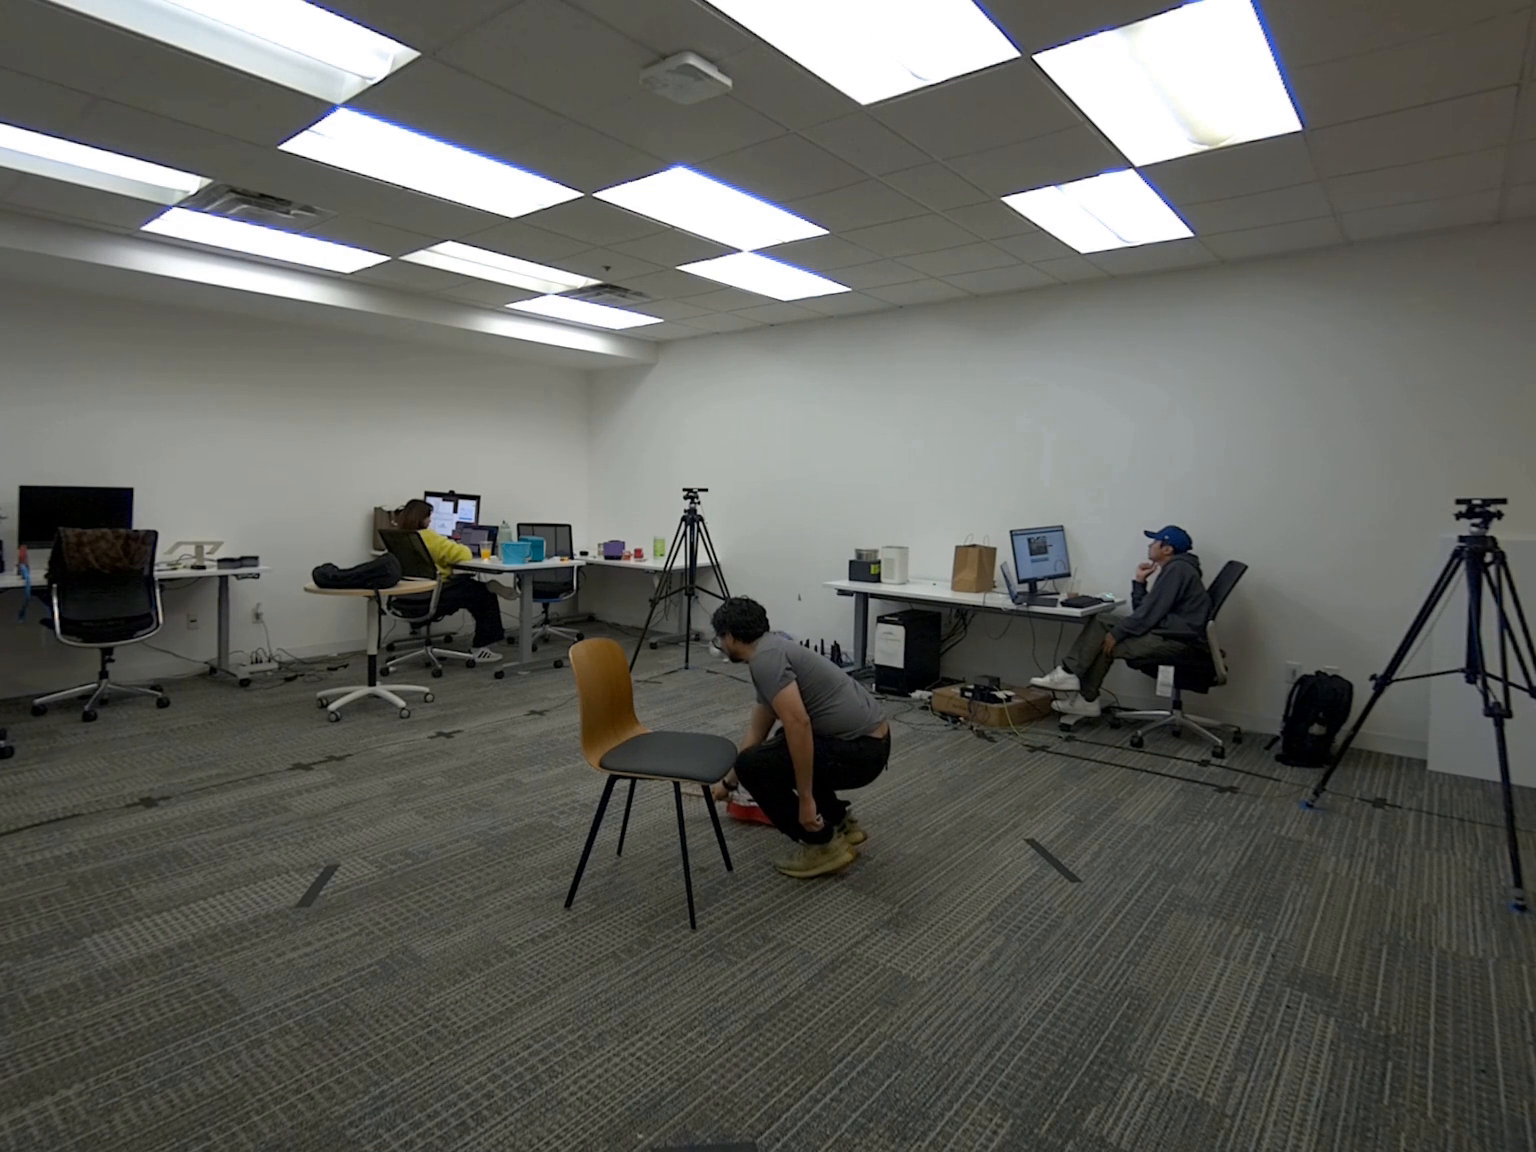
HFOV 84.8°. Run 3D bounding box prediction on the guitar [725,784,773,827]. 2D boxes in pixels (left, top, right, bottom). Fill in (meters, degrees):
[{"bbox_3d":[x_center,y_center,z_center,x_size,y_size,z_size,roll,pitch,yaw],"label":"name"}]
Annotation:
[{"bbox_3d":[-0.155,0.953,3.620,0.503,0.070,0.192,8,5,8],"label":"guitar"}]
